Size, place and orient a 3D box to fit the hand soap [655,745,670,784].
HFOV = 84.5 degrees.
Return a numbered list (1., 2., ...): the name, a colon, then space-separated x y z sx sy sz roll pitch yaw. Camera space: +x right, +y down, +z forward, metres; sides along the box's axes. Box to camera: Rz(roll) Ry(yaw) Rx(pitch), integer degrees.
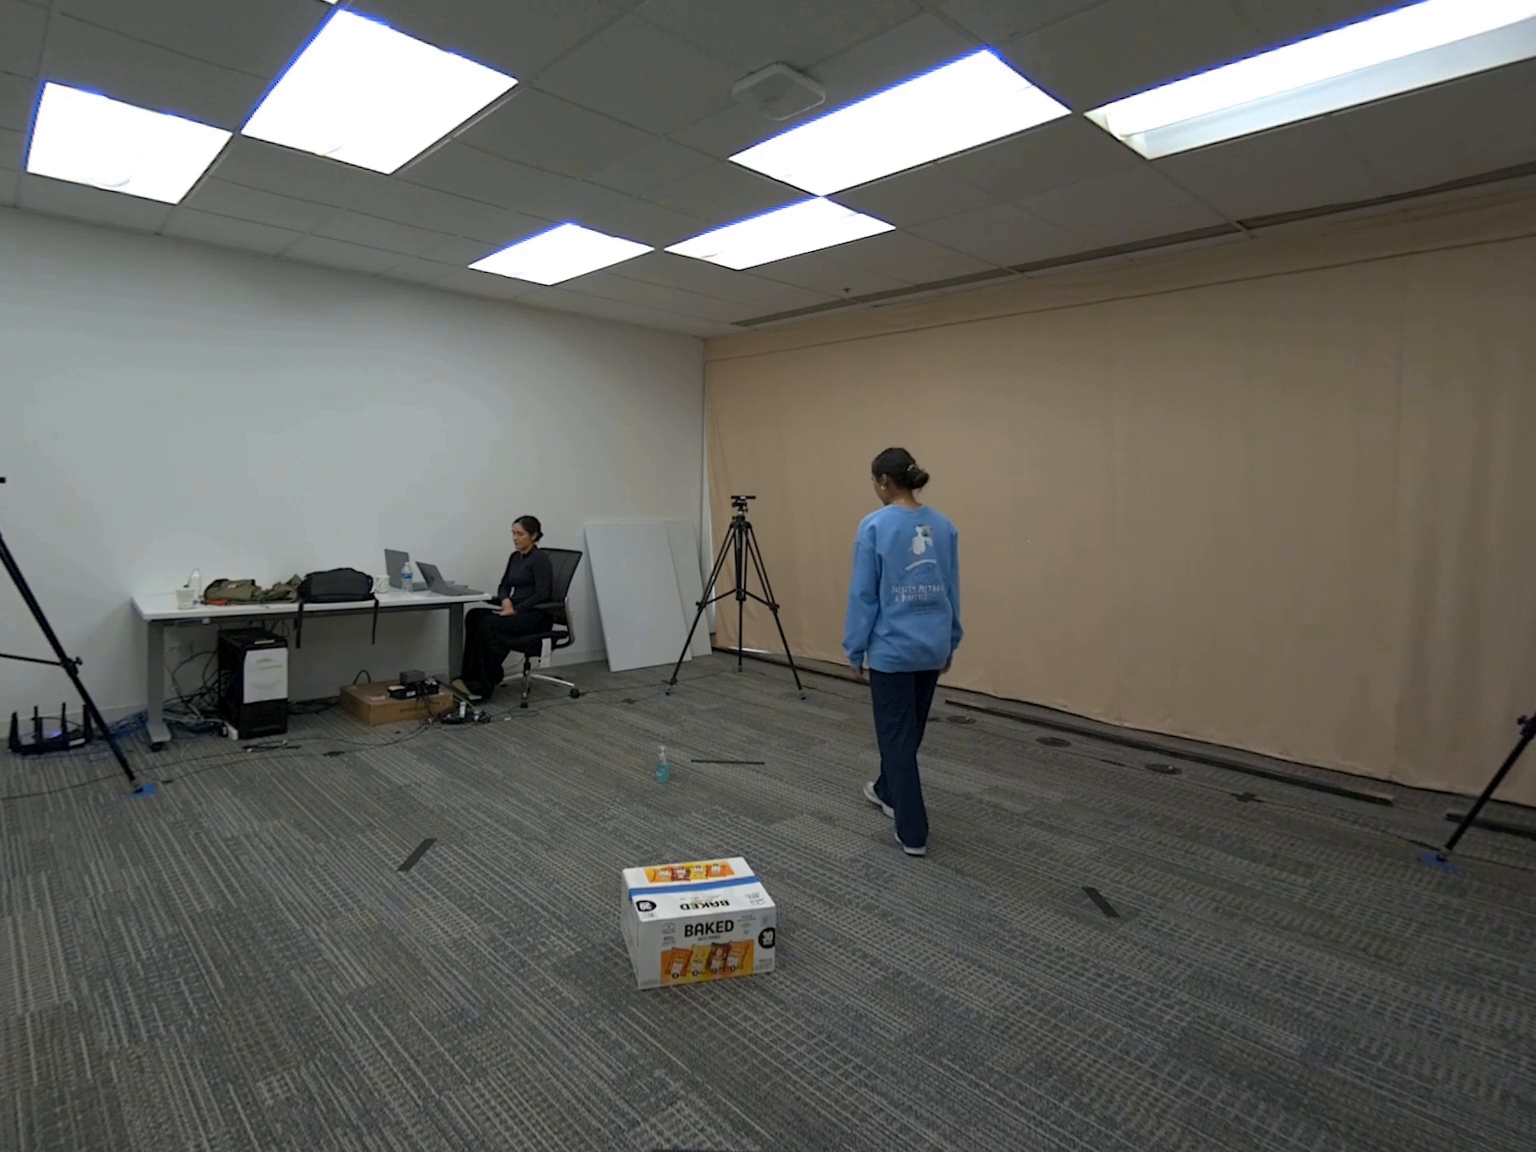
1. hand soap: -0.520 0.915 4.120 0.087 0.168 0.042 4 2 41
